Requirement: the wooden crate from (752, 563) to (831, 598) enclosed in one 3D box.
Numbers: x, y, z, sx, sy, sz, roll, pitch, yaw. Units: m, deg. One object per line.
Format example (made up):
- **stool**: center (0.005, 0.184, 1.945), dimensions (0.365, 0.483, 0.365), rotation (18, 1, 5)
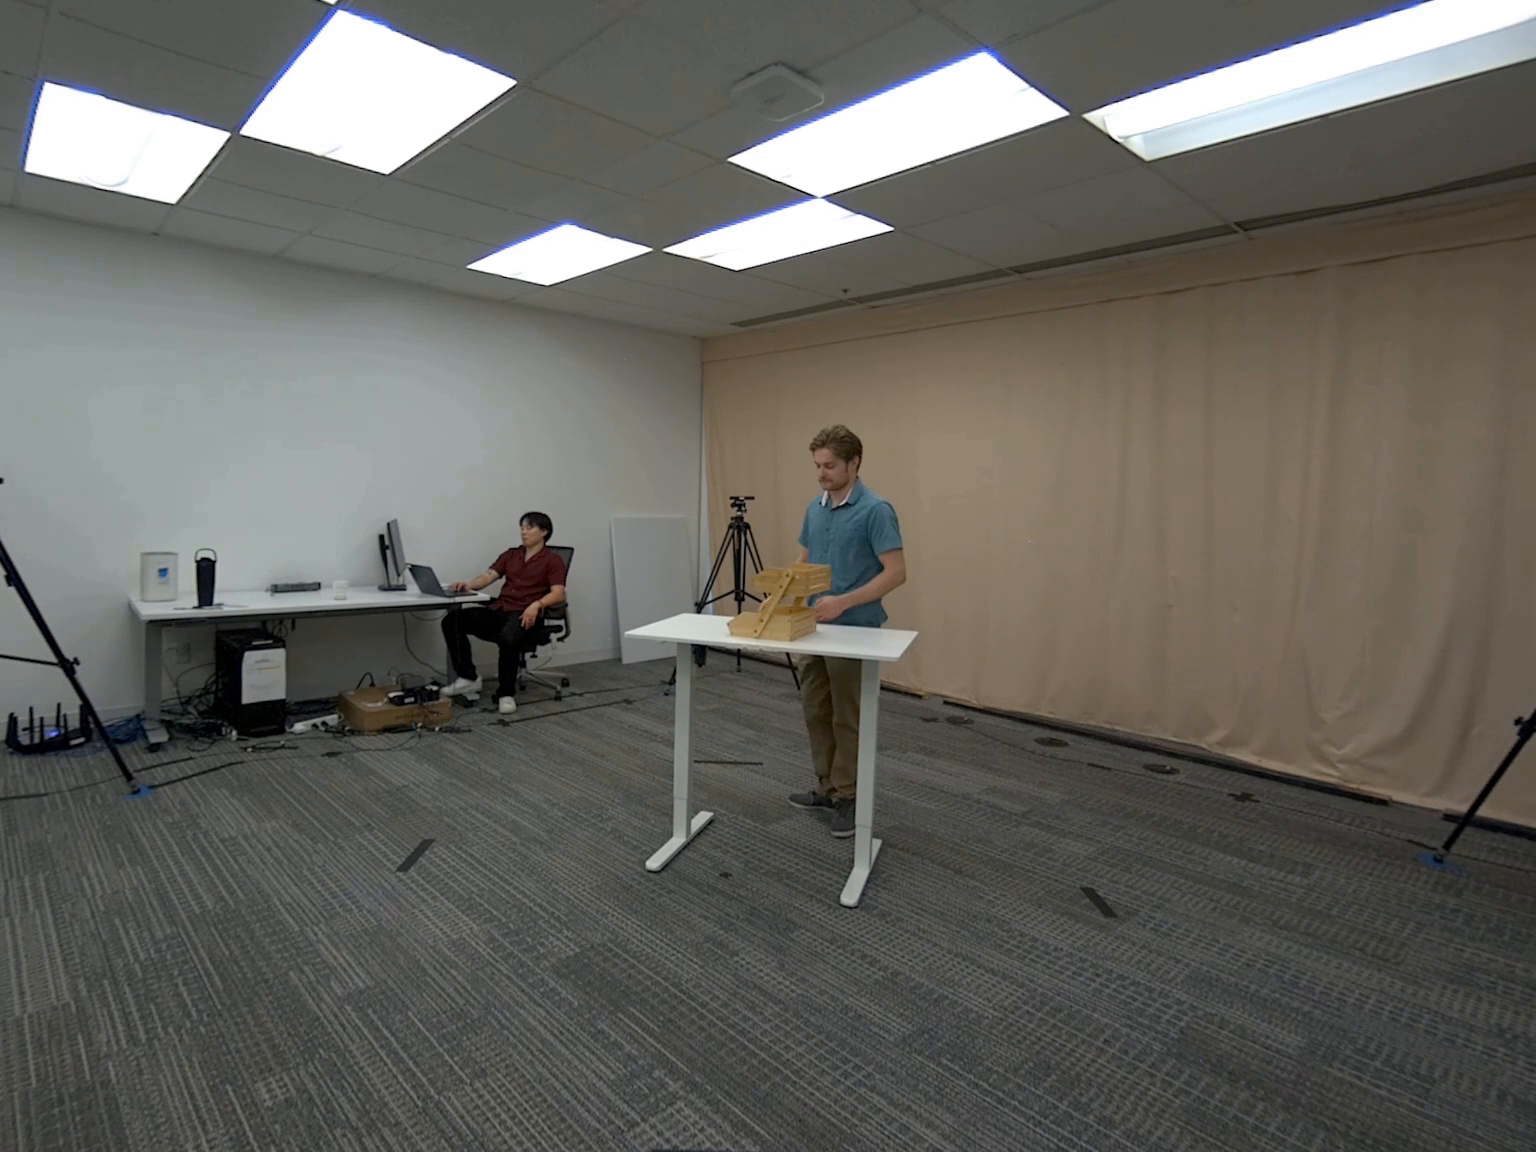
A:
- **wooden crate**: center (0.036, 0.087, 3.177), dimensions (0.307, 0.272, 0.319), rotation (4, 5, 22)
